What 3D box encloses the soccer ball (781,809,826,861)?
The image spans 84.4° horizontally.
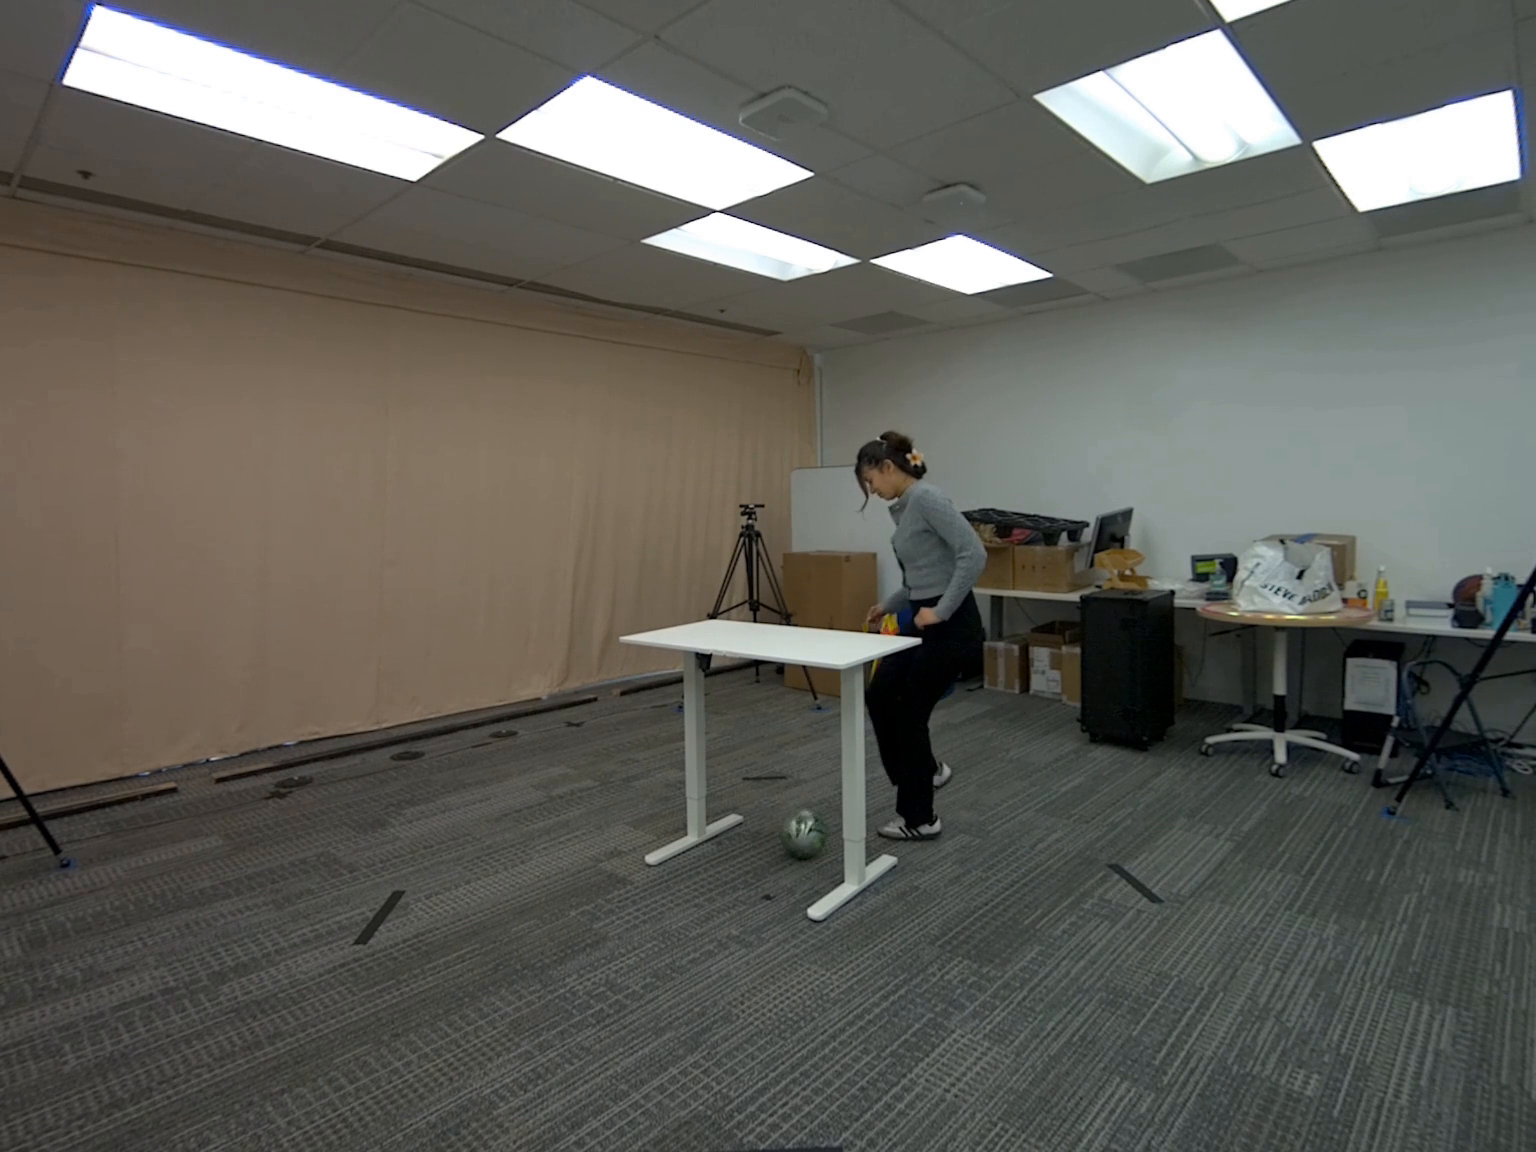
[{"bbox_3d":[0.140,1.013,3.319,0.187,0.187,0.188,-1,4,-2],"label":"soccer ball"}]
